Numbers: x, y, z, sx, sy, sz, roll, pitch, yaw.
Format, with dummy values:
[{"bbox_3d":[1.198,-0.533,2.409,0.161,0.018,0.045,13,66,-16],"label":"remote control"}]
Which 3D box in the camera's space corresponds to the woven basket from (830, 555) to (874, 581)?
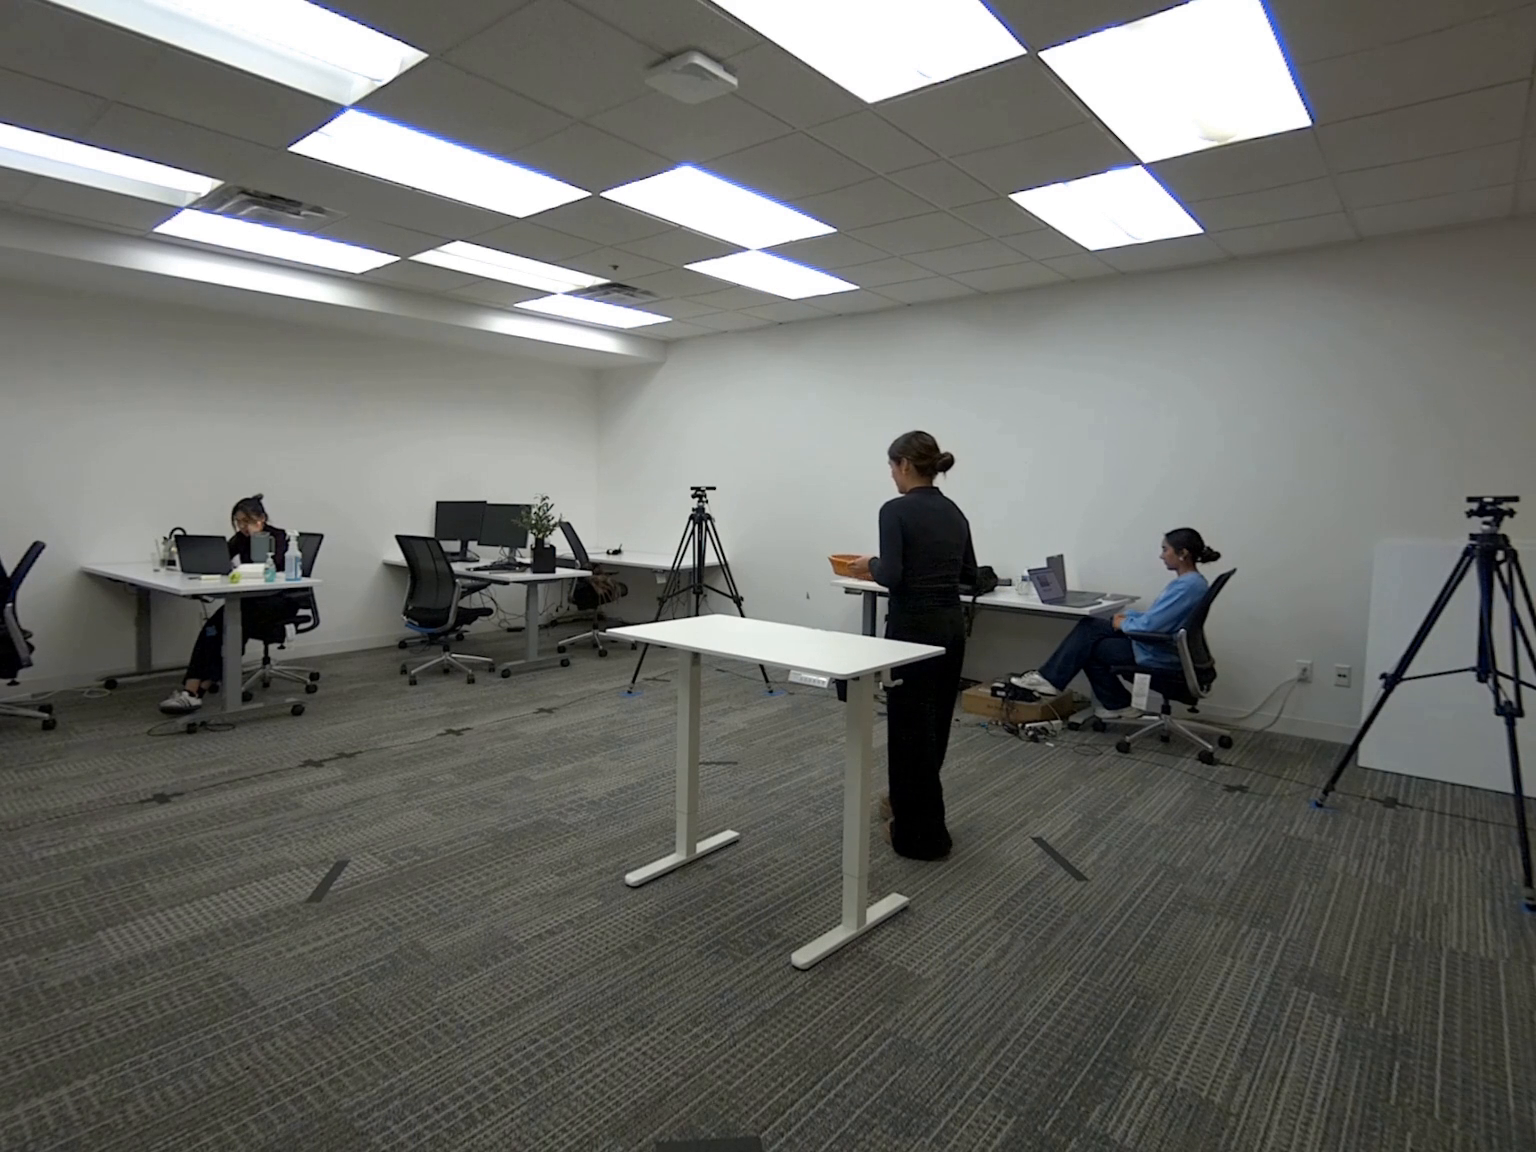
[{"bbox_3d":[0.414,-0.031,3.529,0.248,0.073,0.359,-2,7,-19],"label":"woven basket"}]
